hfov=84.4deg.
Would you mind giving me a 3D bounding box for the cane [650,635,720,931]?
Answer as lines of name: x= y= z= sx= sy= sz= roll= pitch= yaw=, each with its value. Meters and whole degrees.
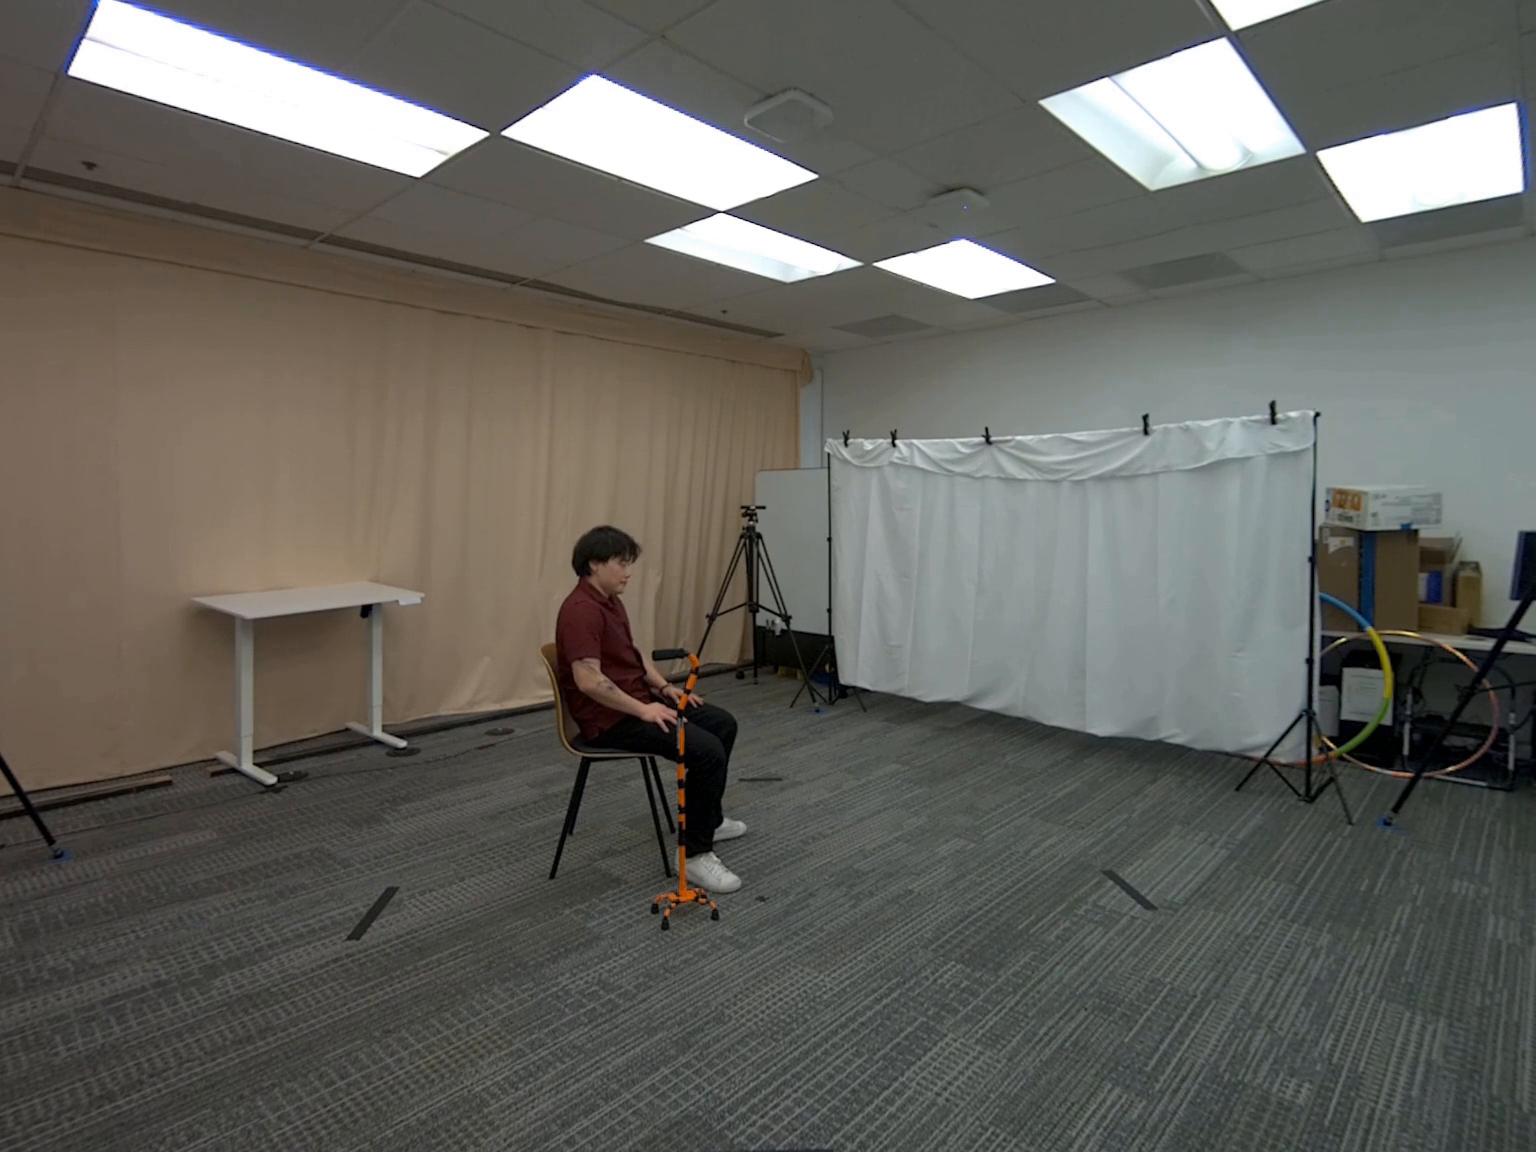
cane: x=-0.289 y=0.695 z=2.845 sx=0.202 sy=0.906 sz=0.155 roll=-2 pitch=3 yaw=-24
